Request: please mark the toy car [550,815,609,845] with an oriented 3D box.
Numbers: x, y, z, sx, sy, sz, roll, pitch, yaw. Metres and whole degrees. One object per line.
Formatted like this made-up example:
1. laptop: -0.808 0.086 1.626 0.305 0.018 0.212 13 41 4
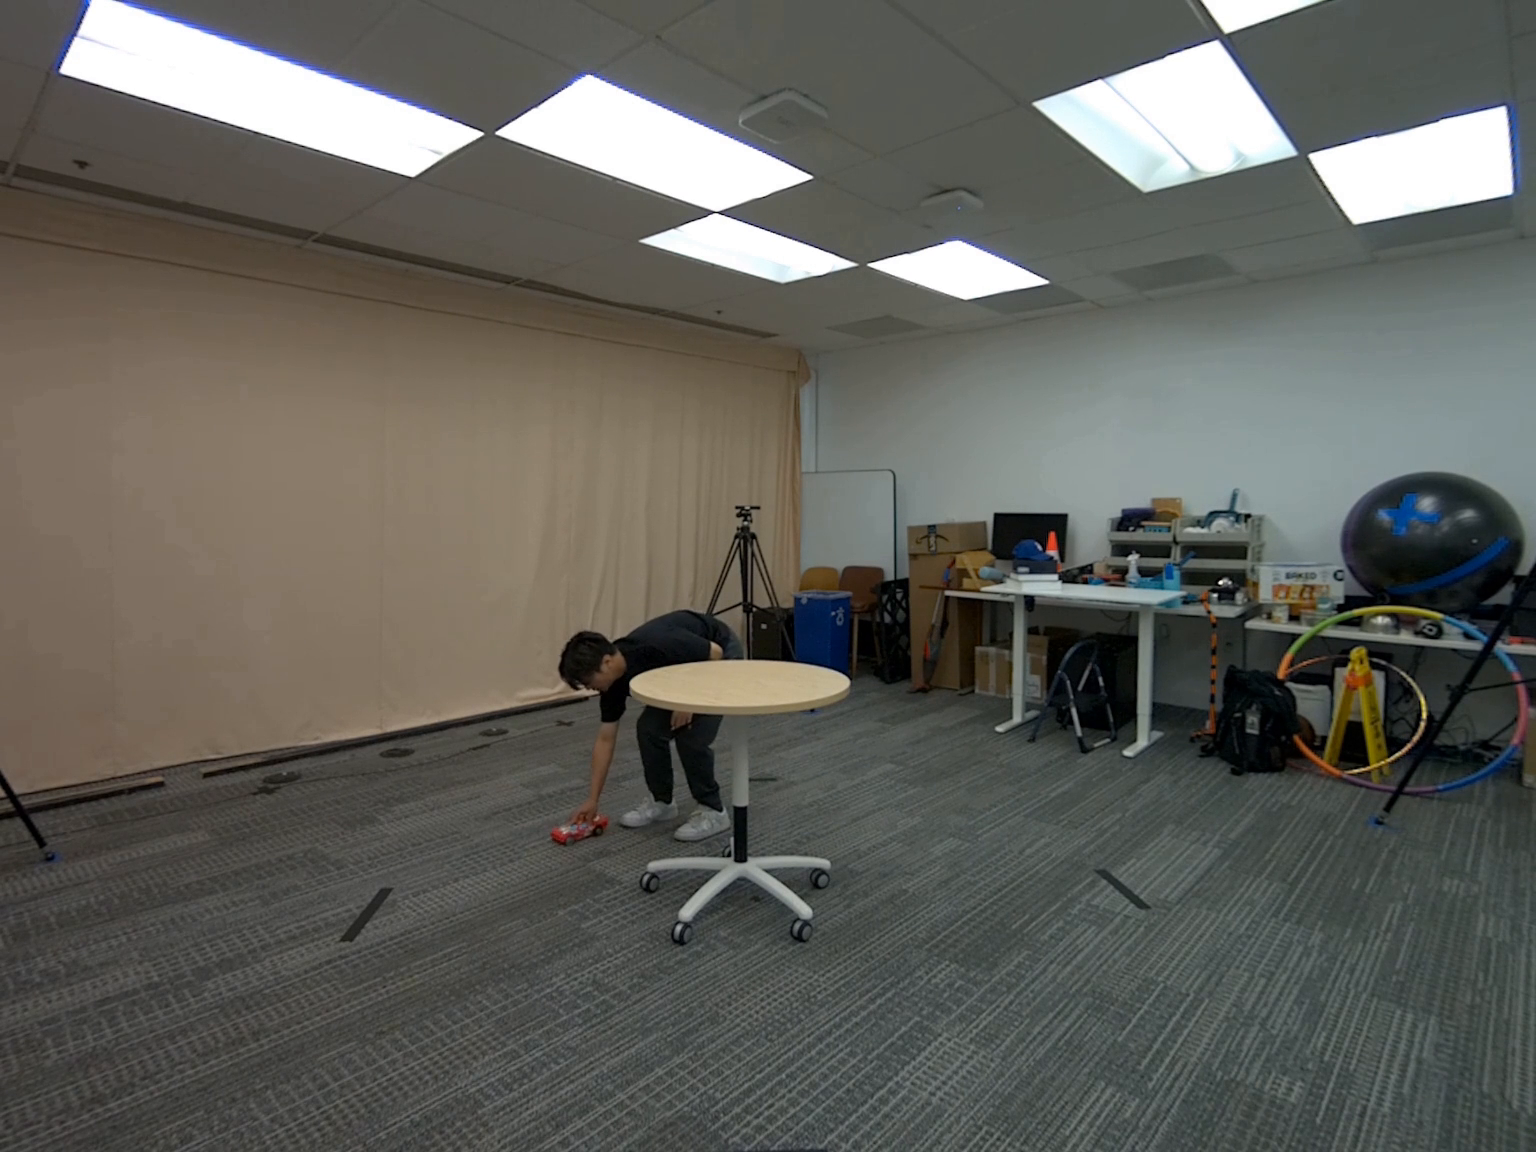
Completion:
1. toy car: -0.794 1.074 3.572 0.134 0.082 0.248 3 17 45
